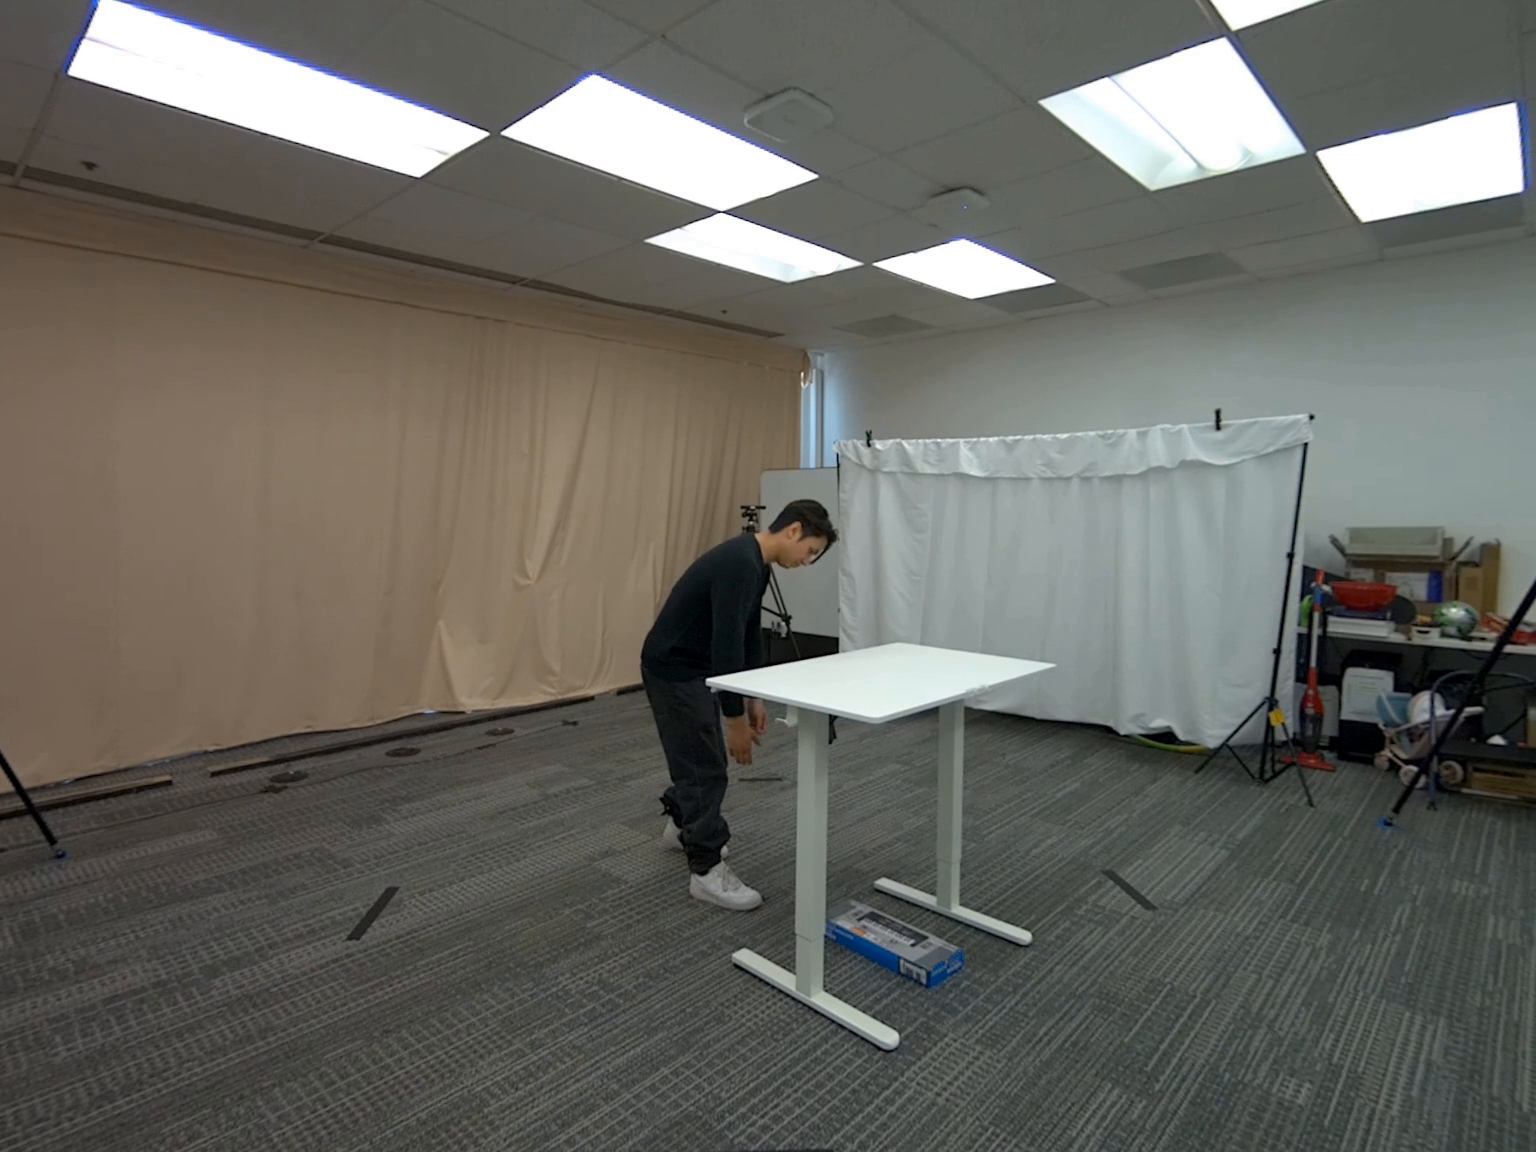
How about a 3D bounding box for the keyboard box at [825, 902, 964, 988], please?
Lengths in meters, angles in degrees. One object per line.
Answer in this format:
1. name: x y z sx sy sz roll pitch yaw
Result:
1. keyboard box: 0.376 1.143 2.636 0.171 0.059 0.451 -5 7 -42
